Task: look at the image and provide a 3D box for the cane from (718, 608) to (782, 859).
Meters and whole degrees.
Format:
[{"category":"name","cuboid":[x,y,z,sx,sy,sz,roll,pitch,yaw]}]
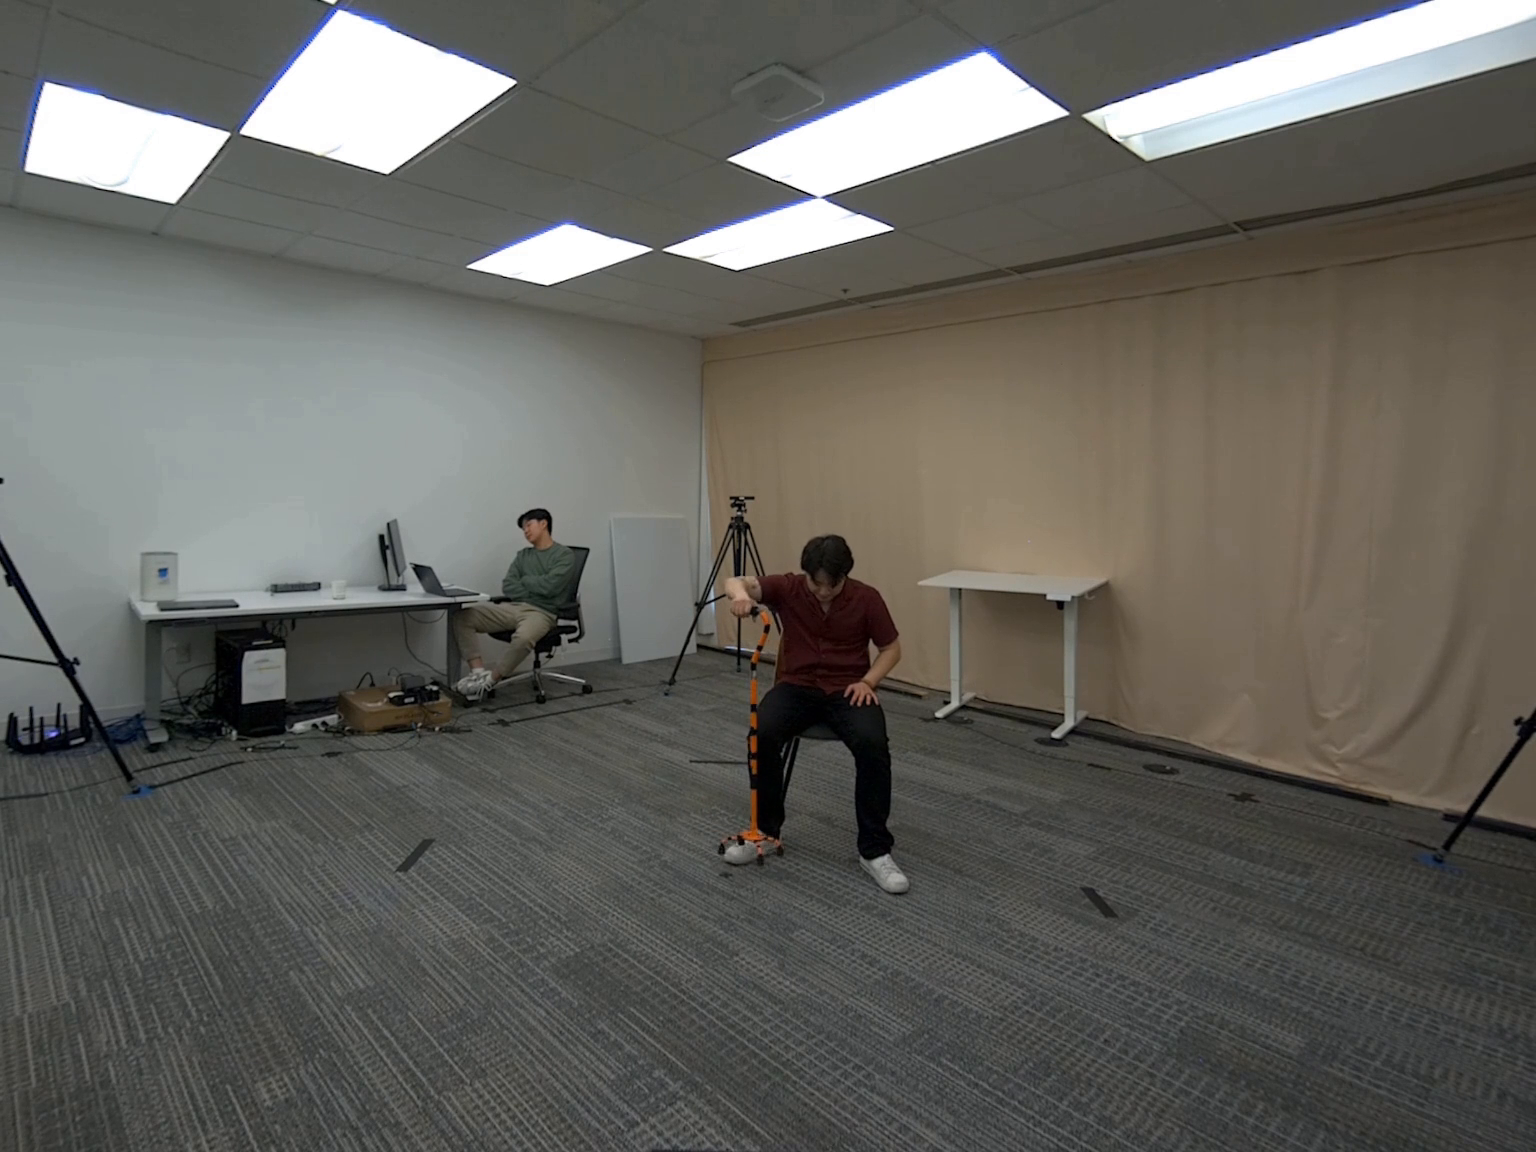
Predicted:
[{"category":"cane","cuboid":[-0.069,0.585,3.097,0.211,0.908,0.148,0,0,30]}]
